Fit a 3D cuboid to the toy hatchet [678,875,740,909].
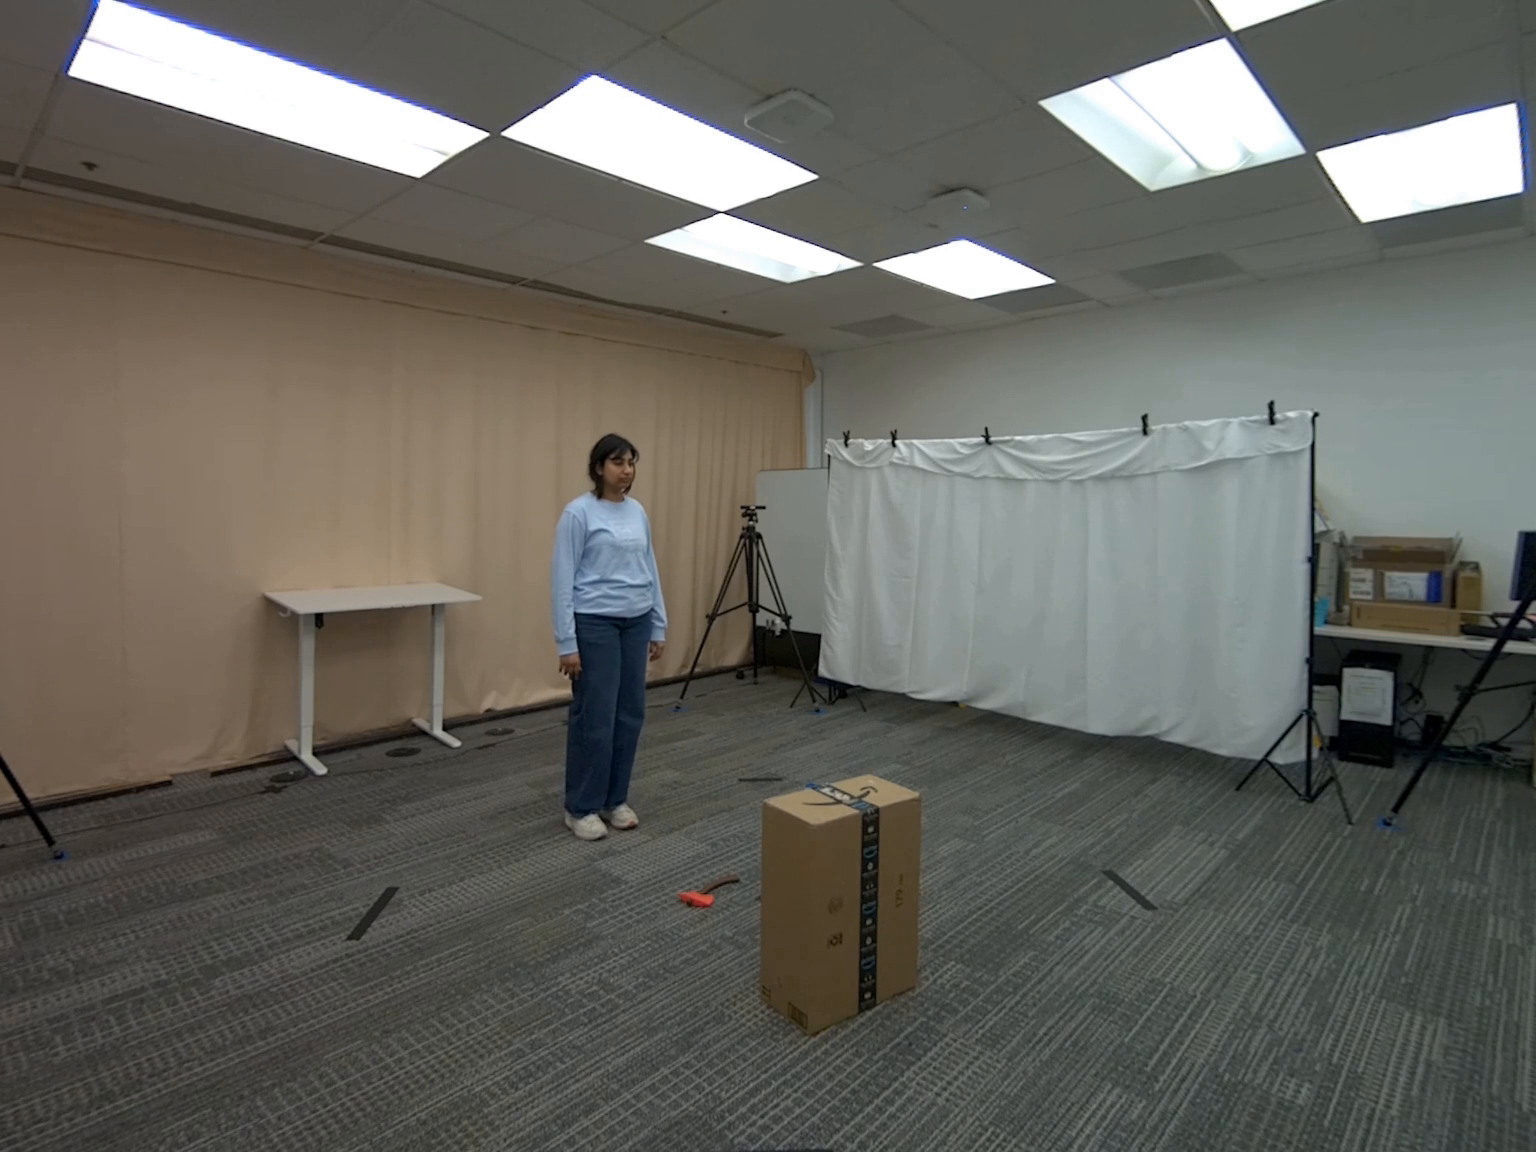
[{"bbox_3d":[-0.181,1.128,3.015,0.262,0.029,0.135,-2,5,-40],"label":"toy hatchet"}]
